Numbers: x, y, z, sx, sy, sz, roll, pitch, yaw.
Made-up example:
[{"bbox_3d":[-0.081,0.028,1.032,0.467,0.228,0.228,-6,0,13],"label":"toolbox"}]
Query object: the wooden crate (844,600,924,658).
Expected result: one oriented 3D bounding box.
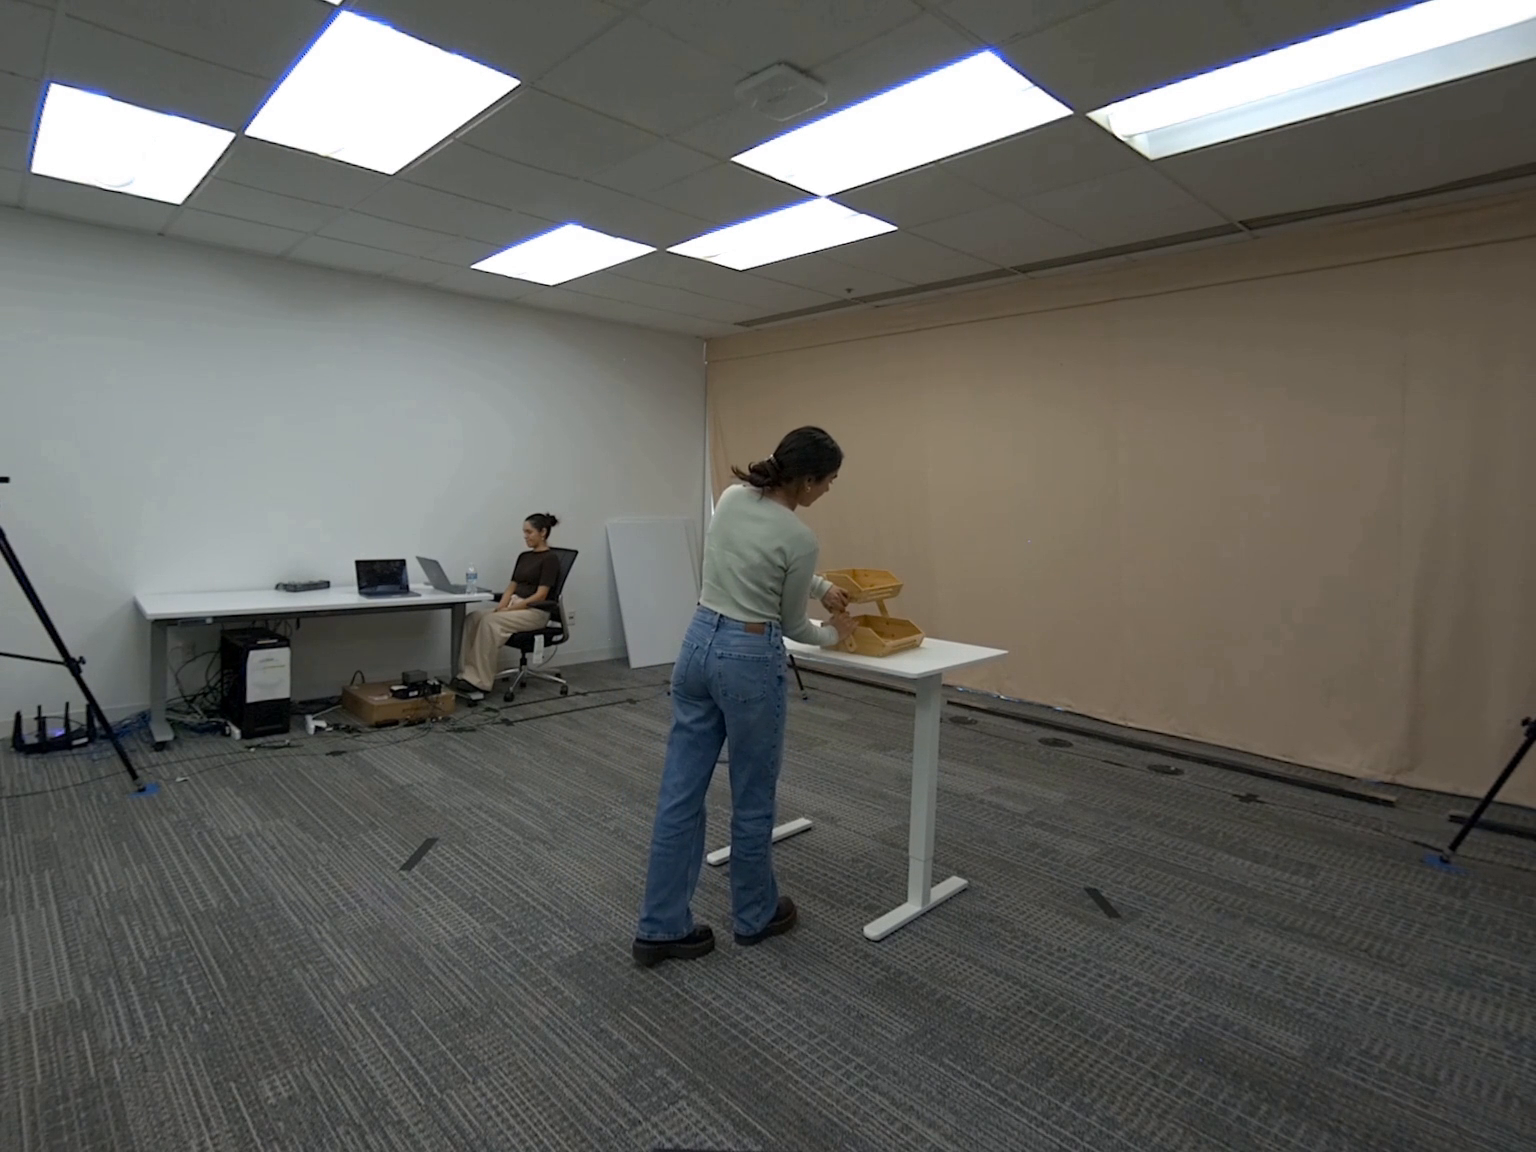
[{"bbox_3d":[0.350,0.119,2.931,0.309,0.272,0.317,5,5,36],"label":"wooden crate"}]
